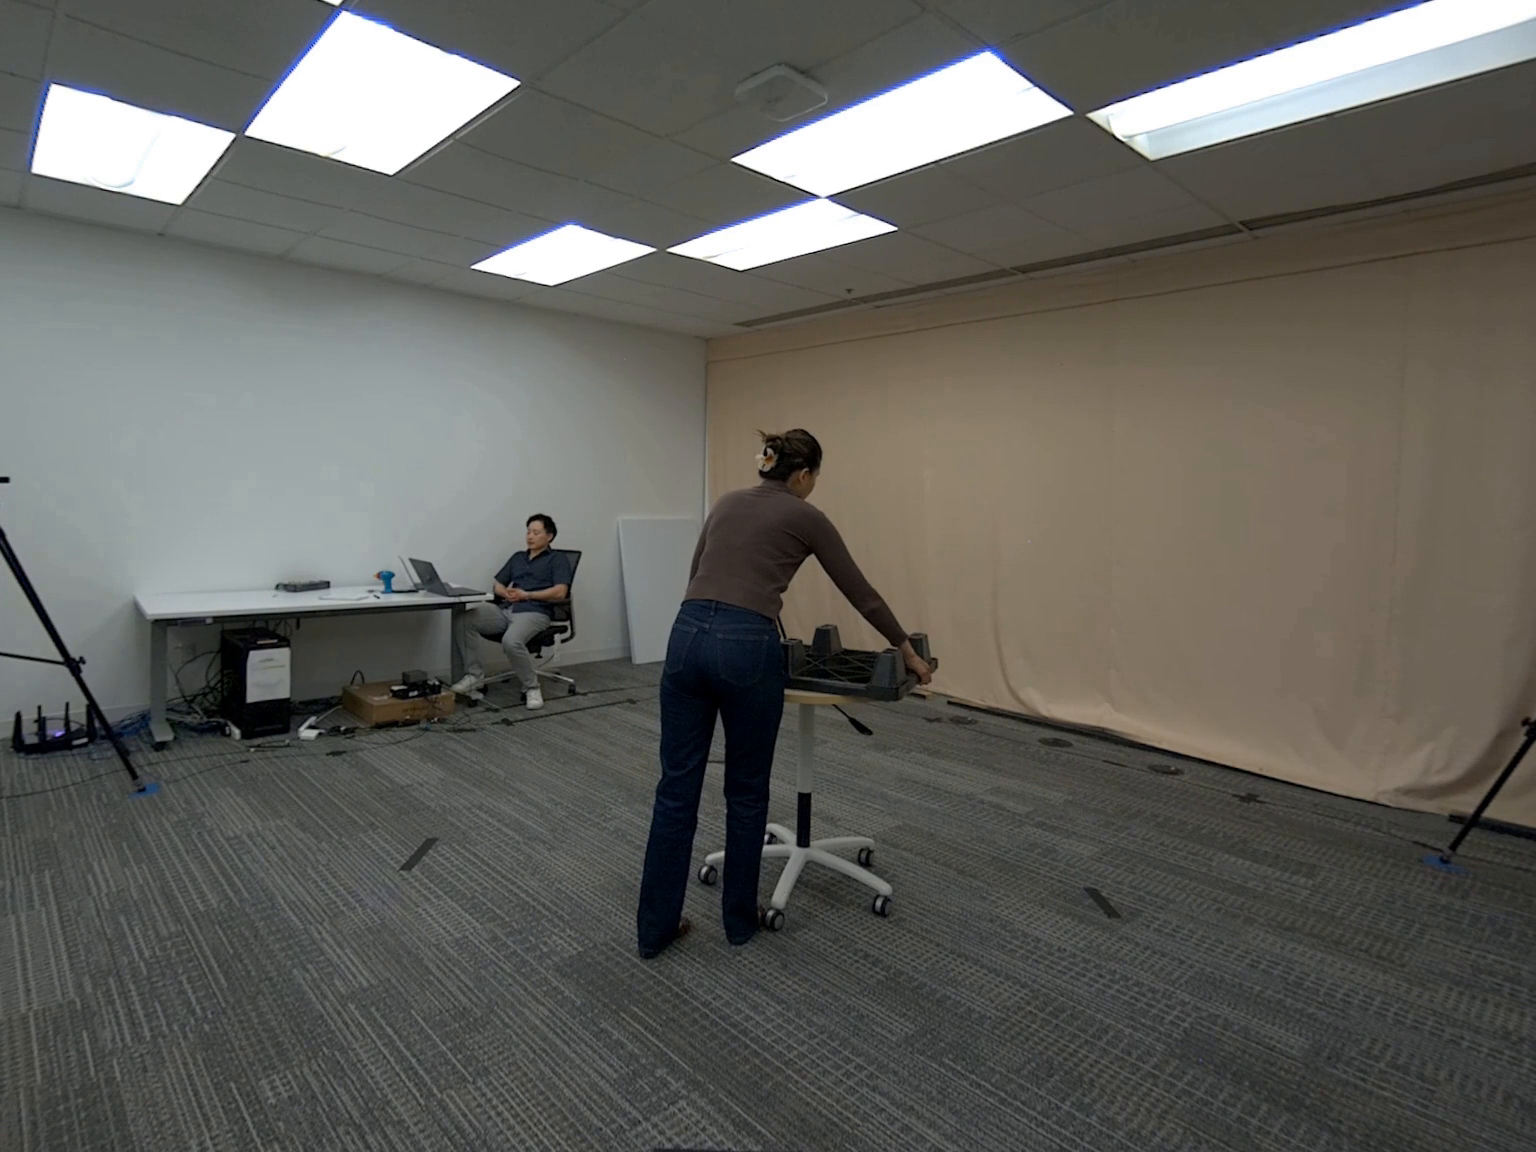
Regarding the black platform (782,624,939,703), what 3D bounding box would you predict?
[{"bbox_3d":[0.132,0.276,2.983,0.821,0.143,0.595,4,6,25],"label":"black platform"}]
